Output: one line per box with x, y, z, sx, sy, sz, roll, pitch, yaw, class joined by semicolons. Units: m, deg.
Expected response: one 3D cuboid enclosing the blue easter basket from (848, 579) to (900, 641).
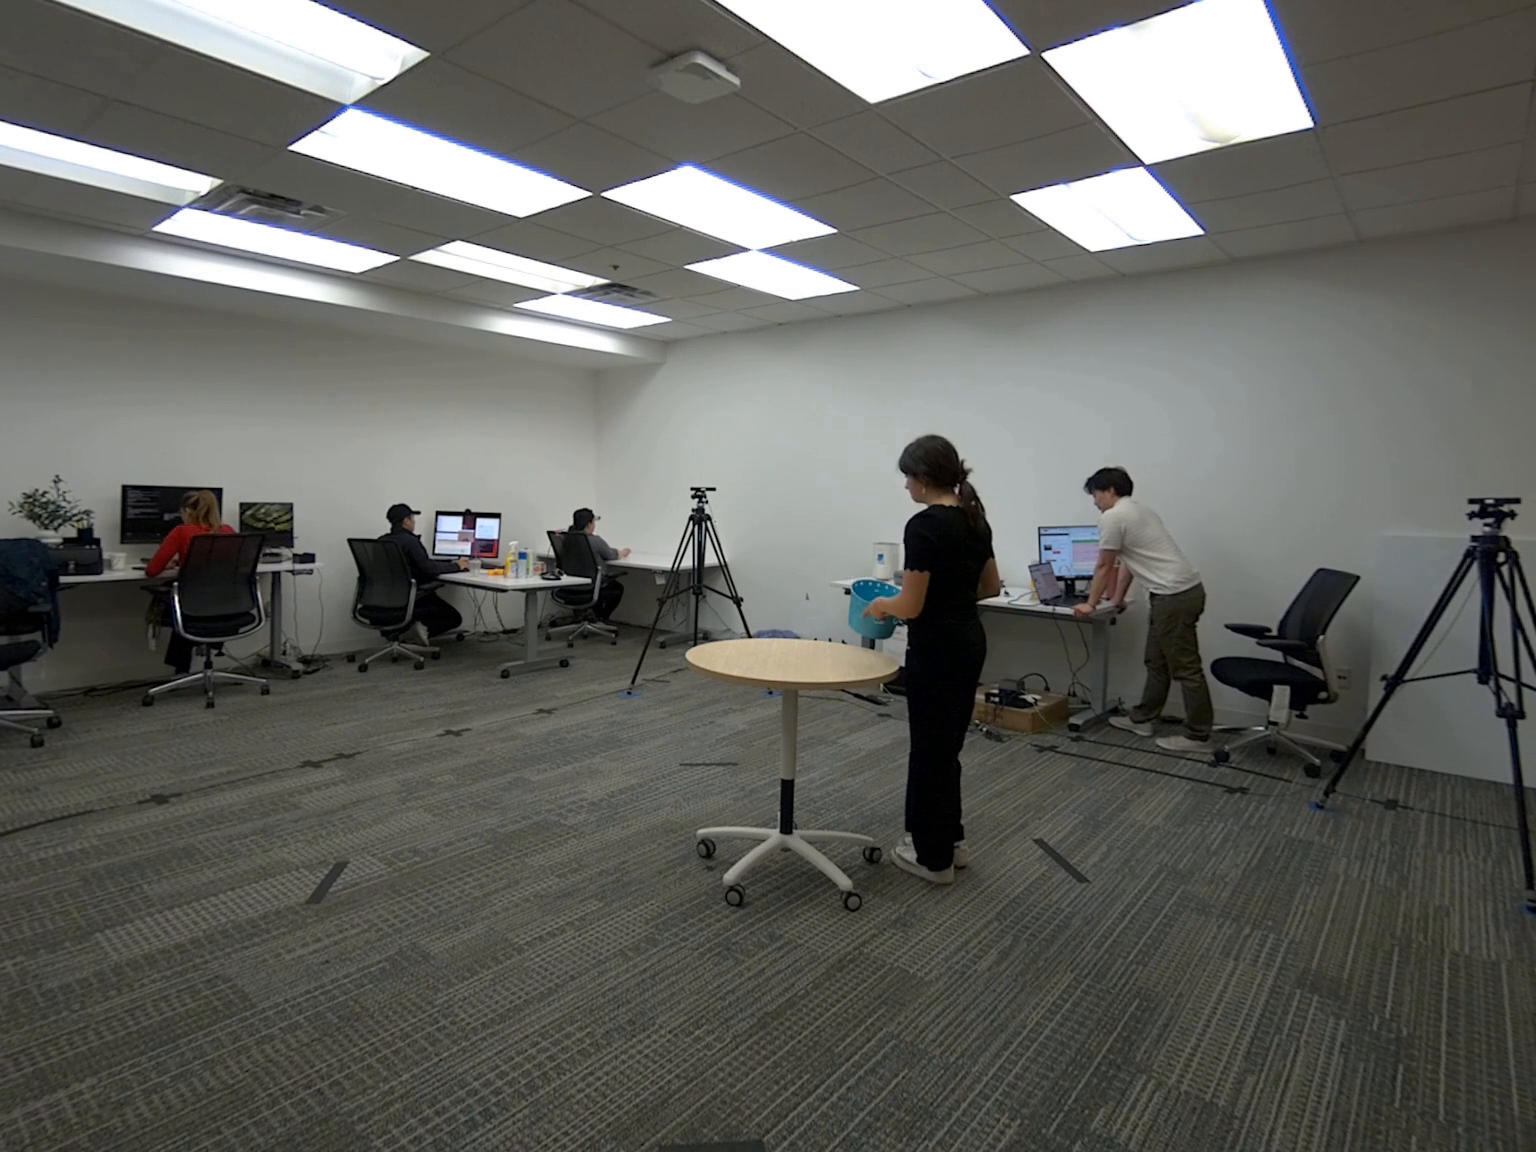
0.420;0.135;3.306;0.242;0.153;0.249;8;23;-5;blue easter basket
